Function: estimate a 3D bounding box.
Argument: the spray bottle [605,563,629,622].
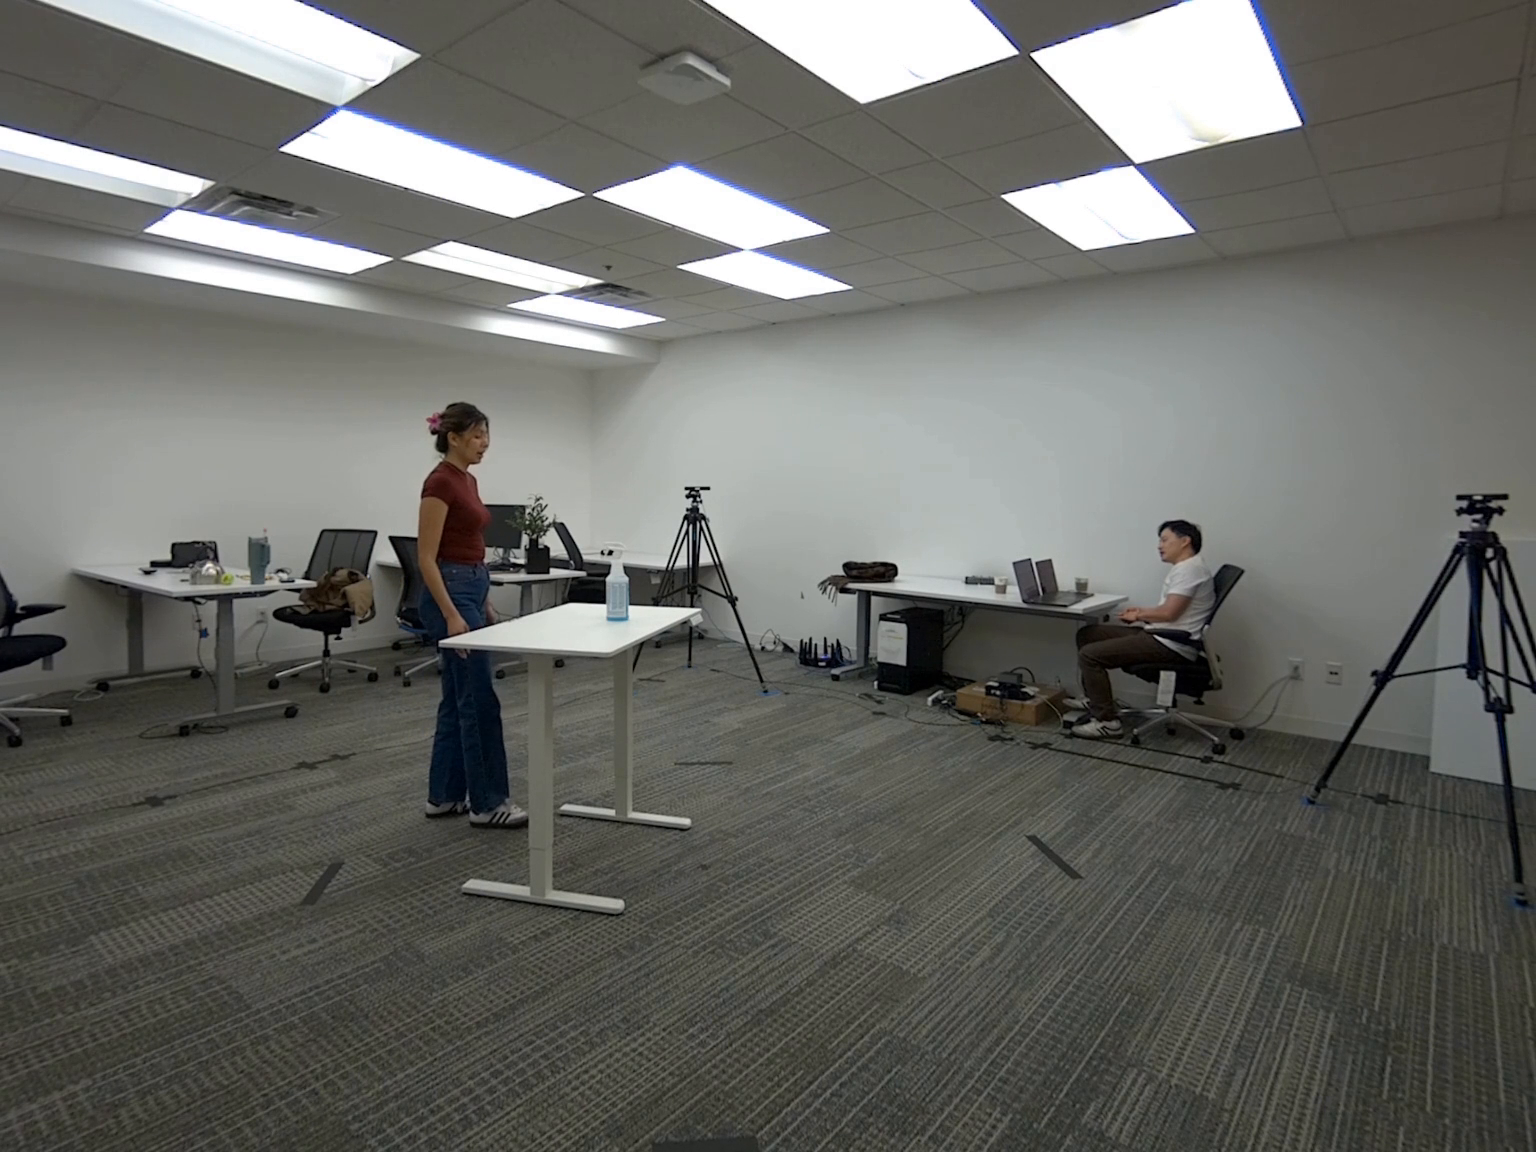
[{"bbox_3d":[-0.589,0.020,3.243,0.092,0.297,0.085,-1,2,21],"label":"spray bottle"}]
